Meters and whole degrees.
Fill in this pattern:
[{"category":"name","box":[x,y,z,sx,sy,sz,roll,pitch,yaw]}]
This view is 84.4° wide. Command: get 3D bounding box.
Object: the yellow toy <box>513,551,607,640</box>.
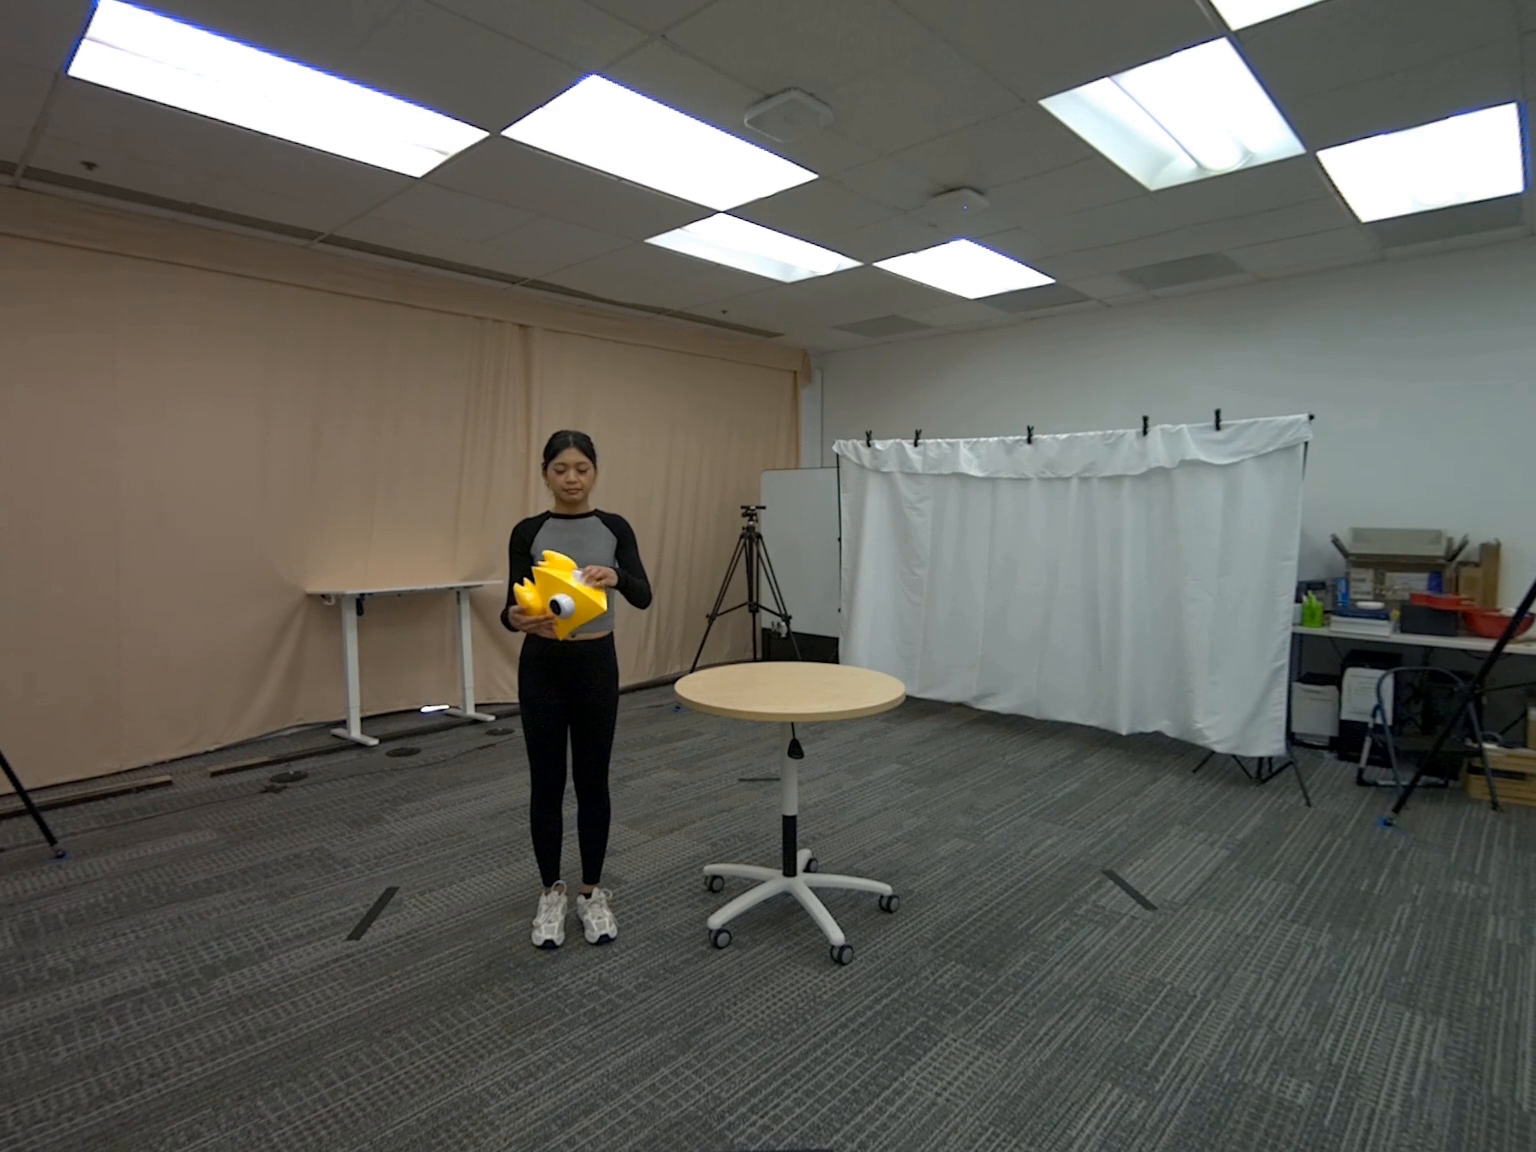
[{"category":"yellow toy","box":[-0.552,0.047,2.328,0.238,0.188,0.204,3,47,48]}]
